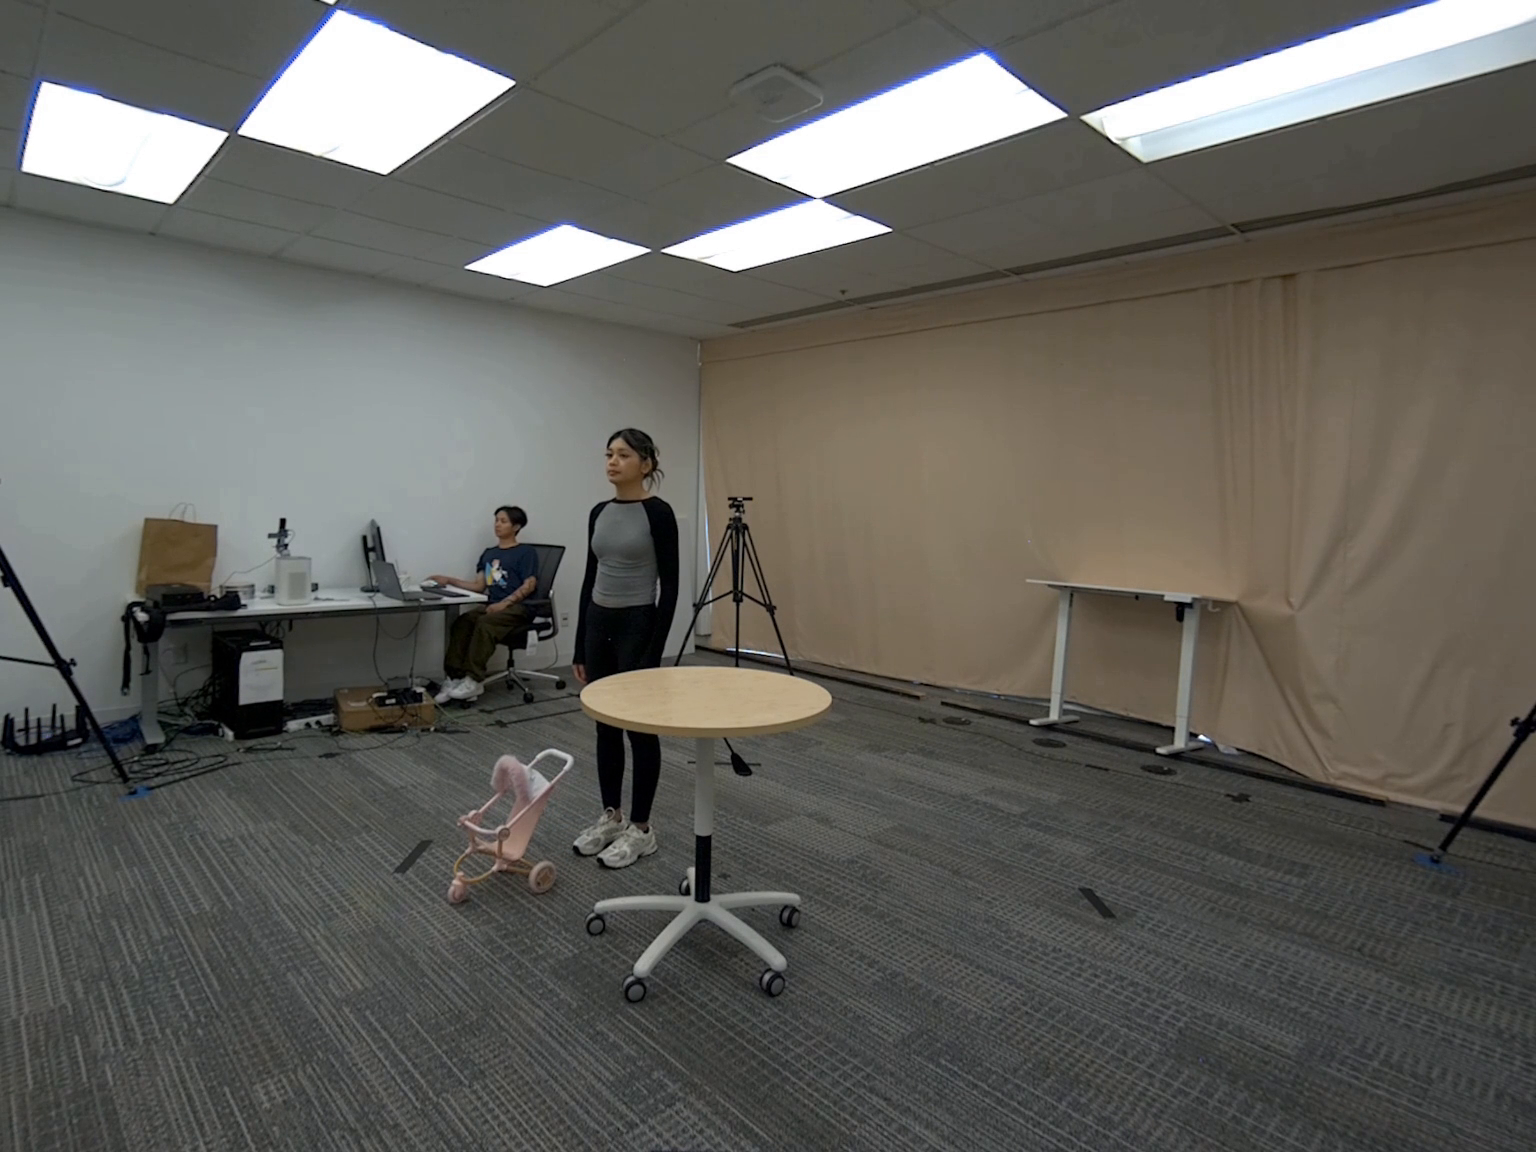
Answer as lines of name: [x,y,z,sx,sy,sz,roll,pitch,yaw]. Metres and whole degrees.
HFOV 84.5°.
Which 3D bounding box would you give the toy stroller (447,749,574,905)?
toy stroller: [-0.928,0.878,2.973,0.331,0.537,0.288,18,-8,-41]
